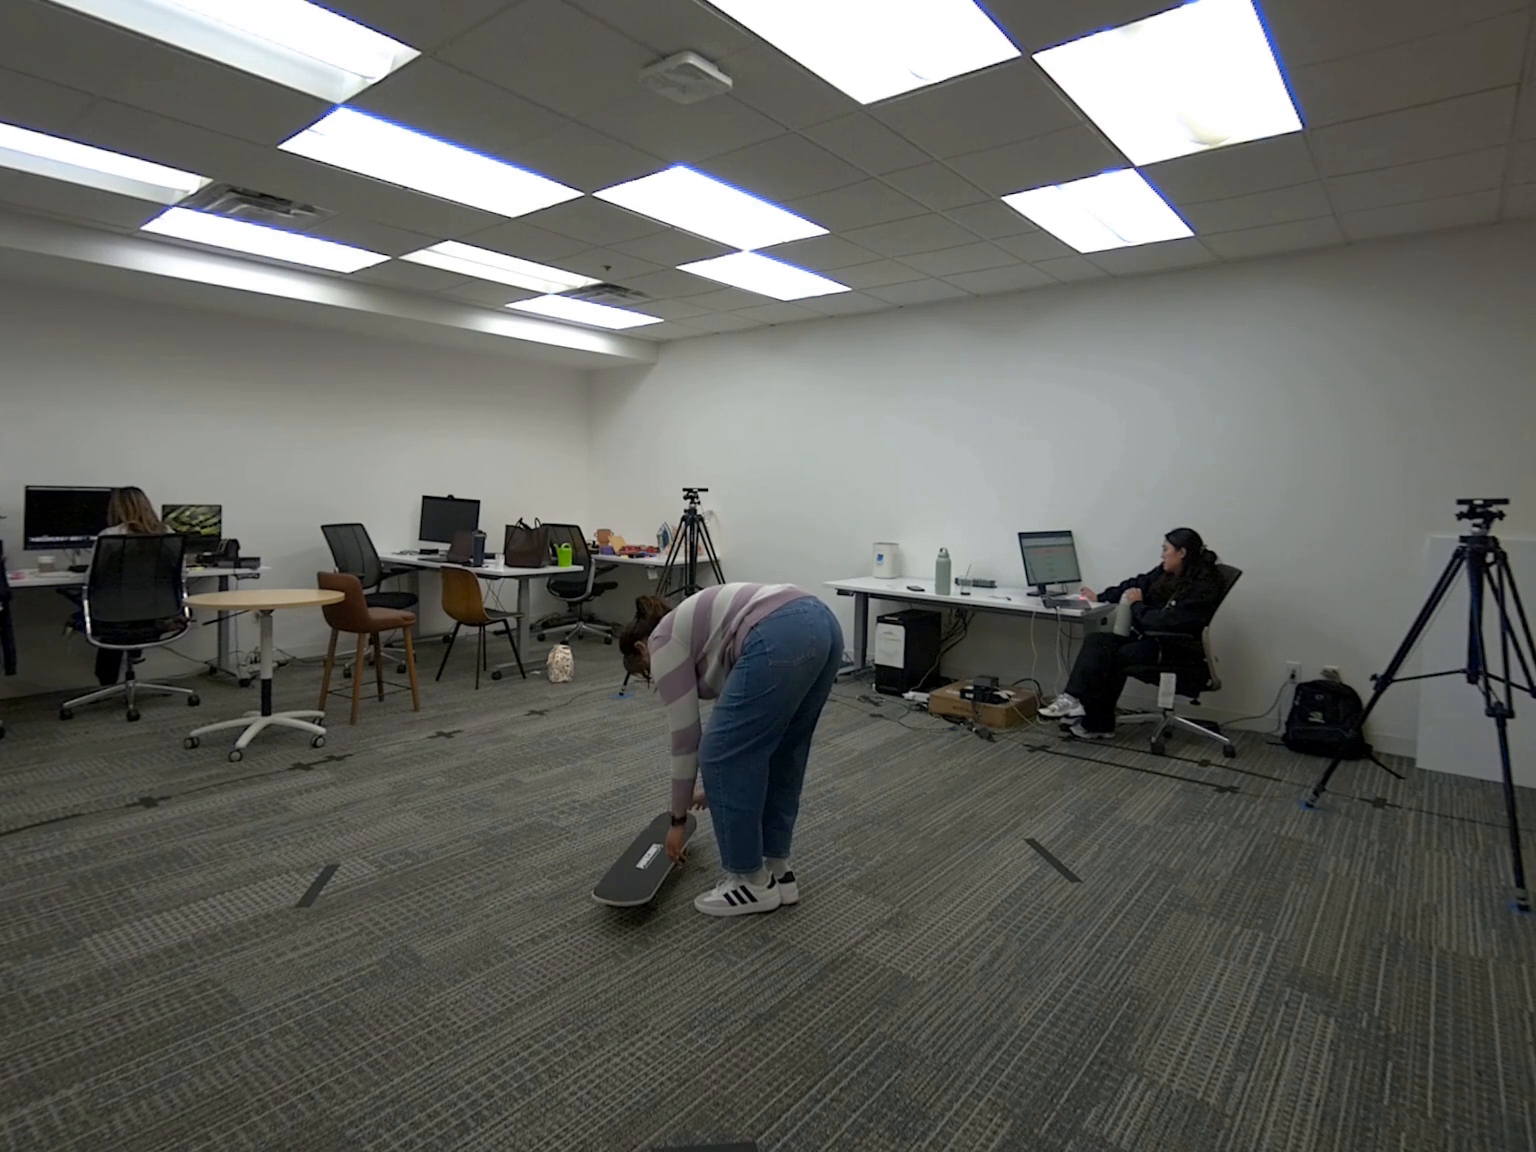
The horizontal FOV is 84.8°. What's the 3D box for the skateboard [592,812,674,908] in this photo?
[{"bbox_3d":[-0.431,1.018,3.012,0.196,0.110,0.778,2,5,10],"label":"skateboard"}]
